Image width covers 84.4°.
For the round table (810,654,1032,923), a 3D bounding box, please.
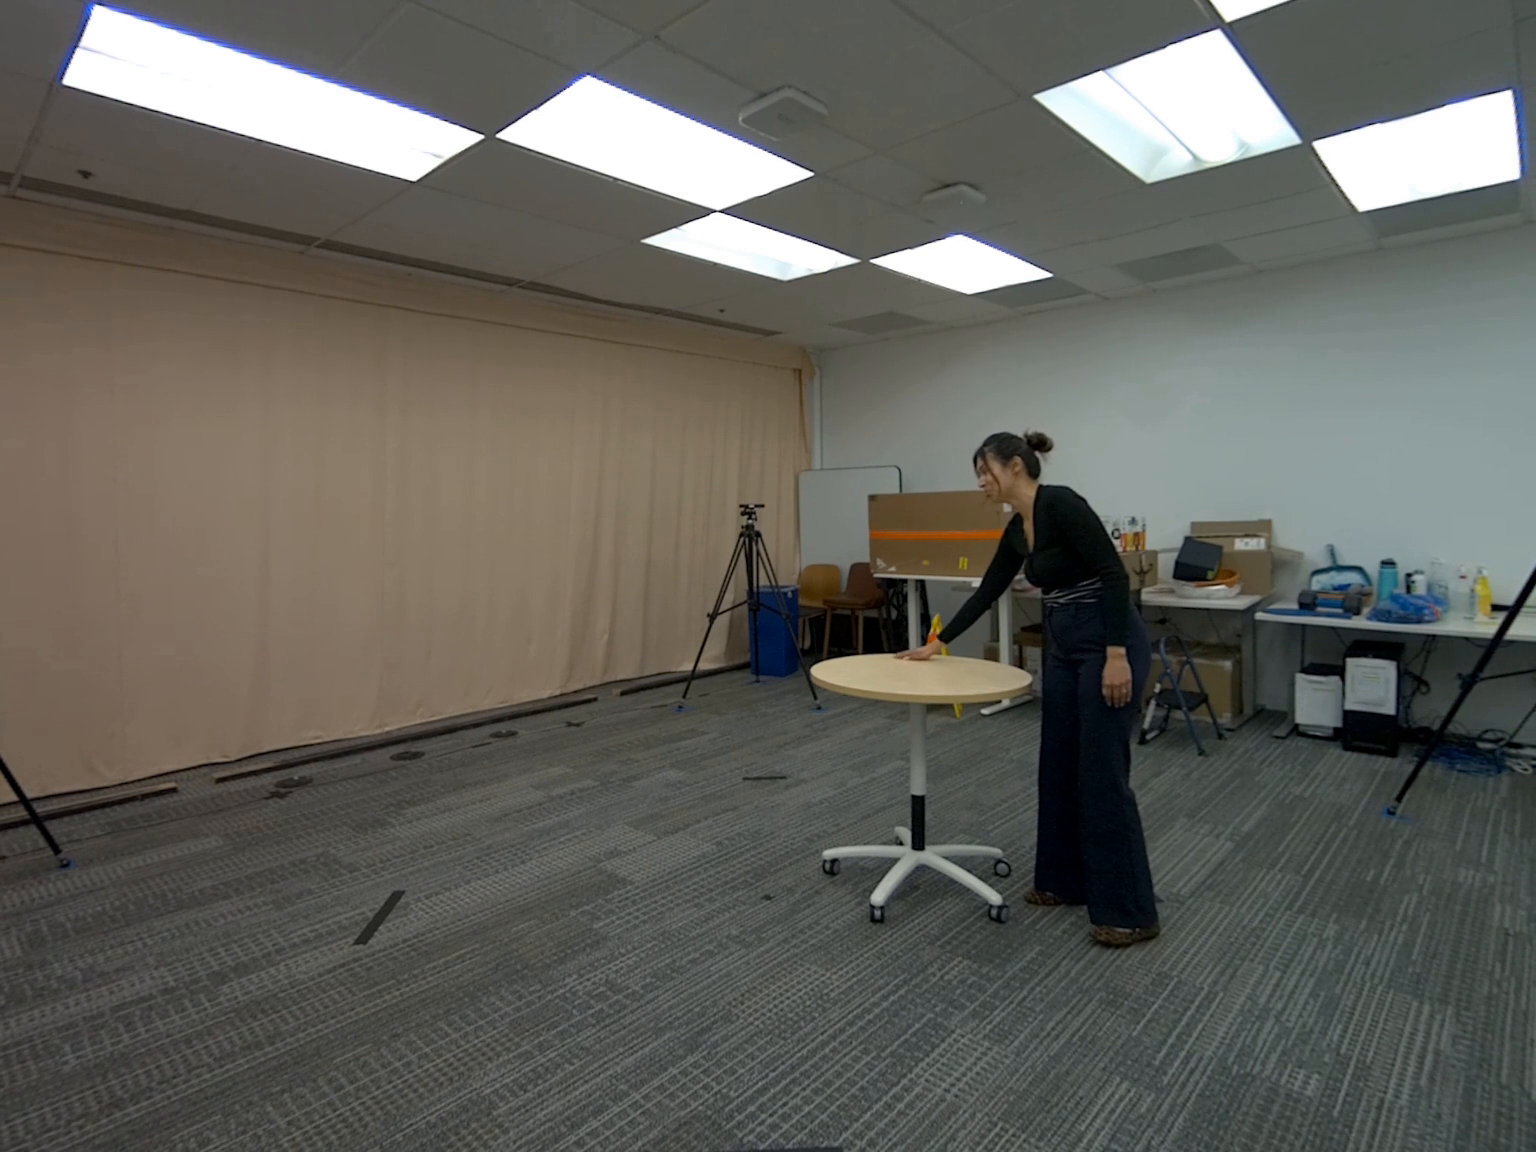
[{"bbox_3d":[0.543,0.737,3.024,0.763,0.792,0.766,0,4,-2],"label":"round table"}]
